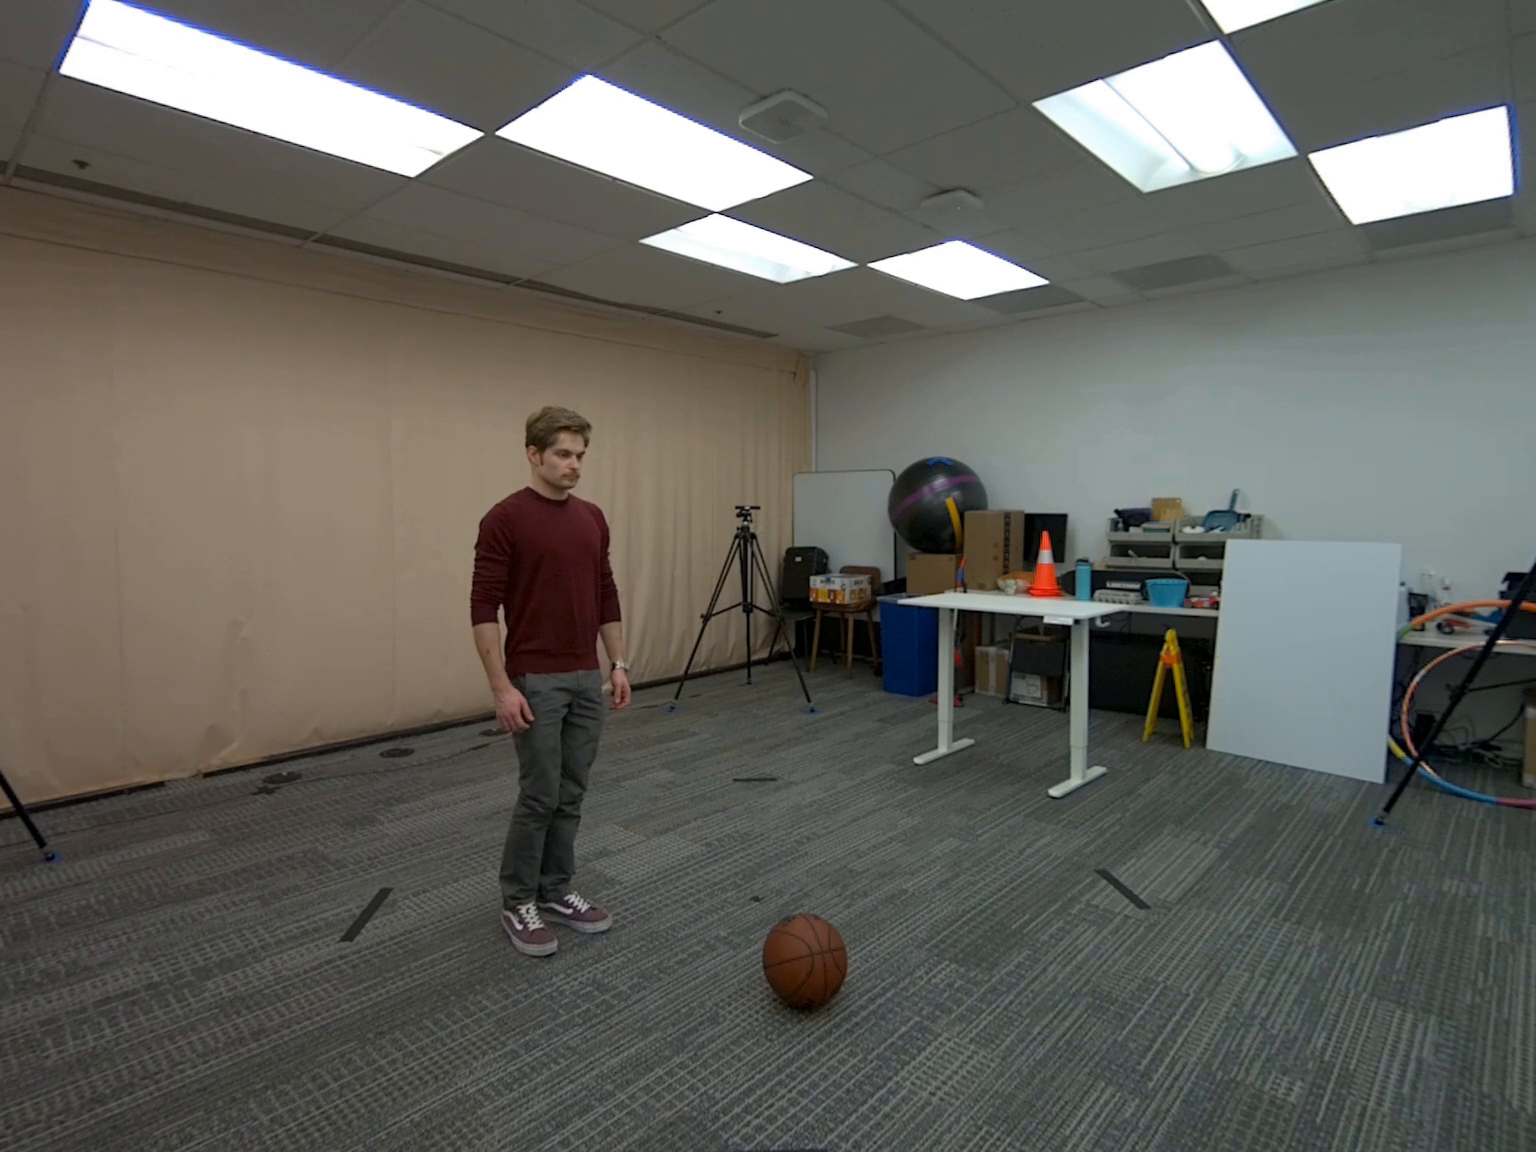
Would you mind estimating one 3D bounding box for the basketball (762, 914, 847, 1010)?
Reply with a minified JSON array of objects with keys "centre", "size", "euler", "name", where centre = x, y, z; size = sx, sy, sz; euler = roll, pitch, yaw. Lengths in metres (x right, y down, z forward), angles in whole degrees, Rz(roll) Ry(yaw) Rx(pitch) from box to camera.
[{"centre":[0.106,1.079,2.359],"size":[0.236,0.235,0.237],"euler":[0,4,-2],"name":"basketball"}]
